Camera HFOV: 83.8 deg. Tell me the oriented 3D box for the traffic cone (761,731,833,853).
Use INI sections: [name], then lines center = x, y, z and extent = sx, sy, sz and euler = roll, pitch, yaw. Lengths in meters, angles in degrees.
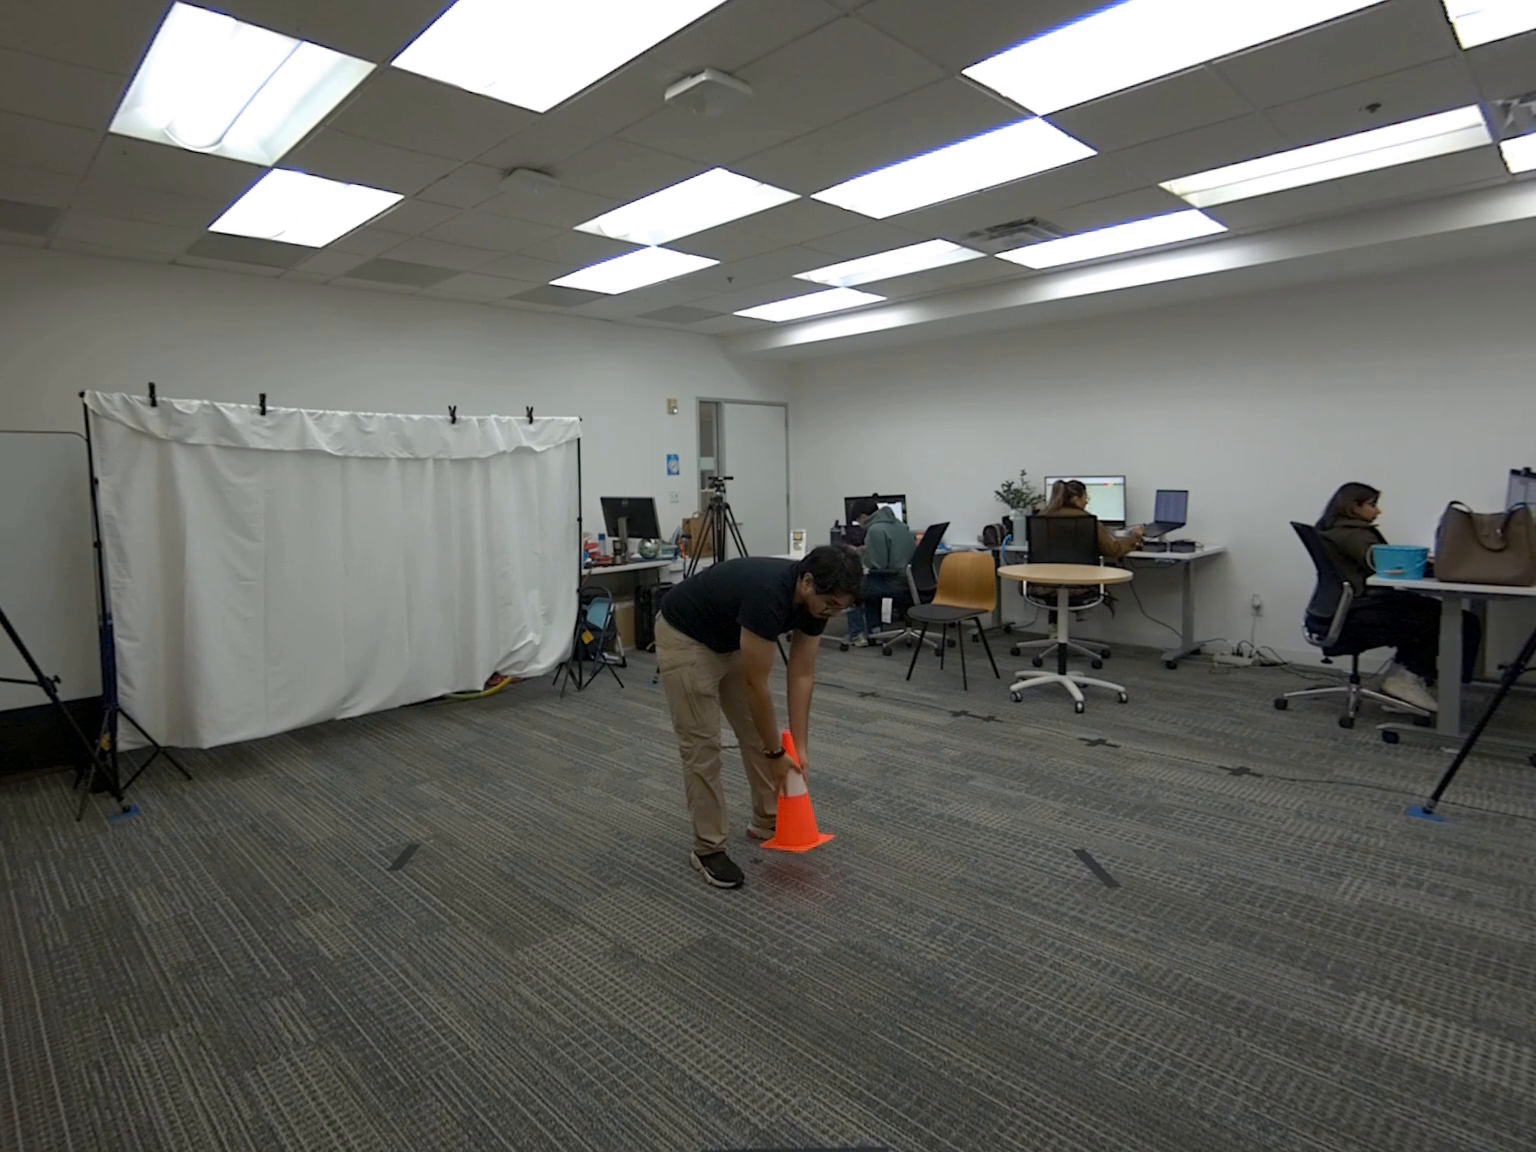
[traffic cone]
center = 0.084, 0.743, 3.002
extent = 0.208, 0.385, 0.199
euler = -10, -6, 43
